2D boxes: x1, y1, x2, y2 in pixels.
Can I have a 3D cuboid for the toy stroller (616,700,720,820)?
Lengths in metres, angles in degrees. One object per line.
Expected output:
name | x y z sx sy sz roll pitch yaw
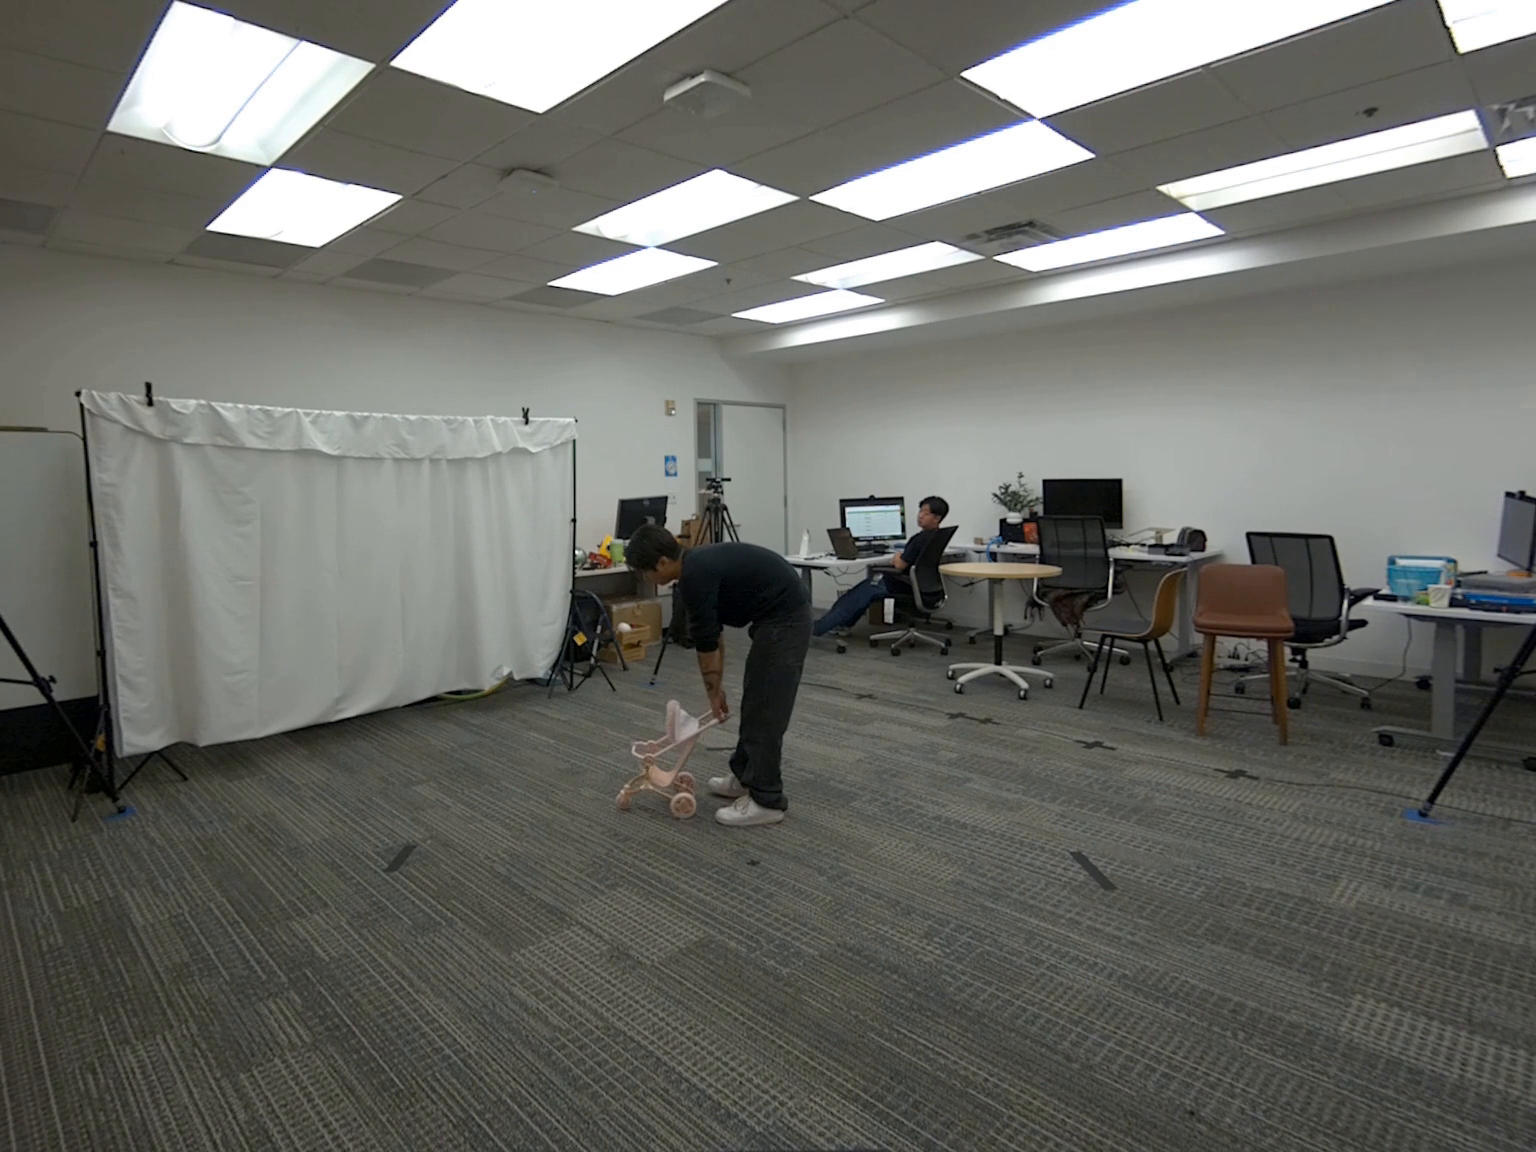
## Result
toy stroller | -0.425 0.764 3.641 0.342 0.534 0.282 16 3 0
